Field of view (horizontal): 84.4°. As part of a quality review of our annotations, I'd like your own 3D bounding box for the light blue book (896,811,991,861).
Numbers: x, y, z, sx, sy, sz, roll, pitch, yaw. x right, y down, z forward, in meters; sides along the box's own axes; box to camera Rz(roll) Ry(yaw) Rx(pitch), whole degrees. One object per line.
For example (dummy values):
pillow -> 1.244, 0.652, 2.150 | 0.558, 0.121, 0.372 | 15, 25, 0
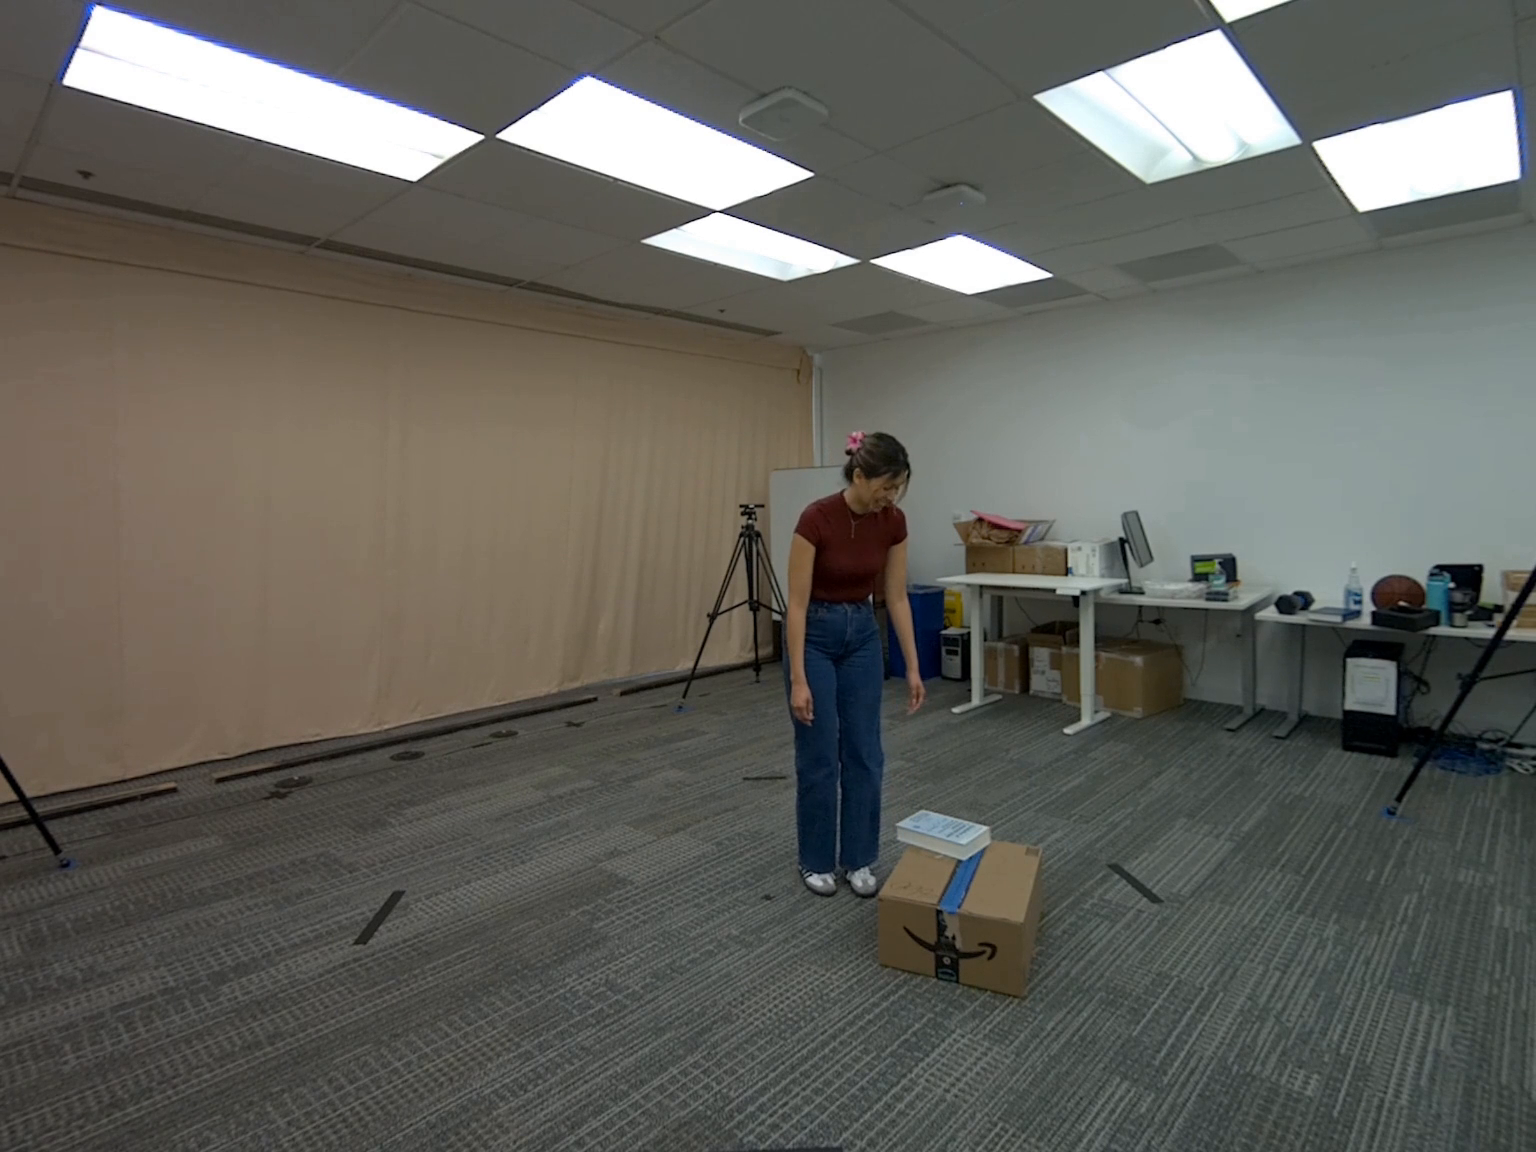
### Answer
light blue book -> 0.608, 0.888, 2.909 | 0.269, 0.059, 0.186 | 3, 8, 42
